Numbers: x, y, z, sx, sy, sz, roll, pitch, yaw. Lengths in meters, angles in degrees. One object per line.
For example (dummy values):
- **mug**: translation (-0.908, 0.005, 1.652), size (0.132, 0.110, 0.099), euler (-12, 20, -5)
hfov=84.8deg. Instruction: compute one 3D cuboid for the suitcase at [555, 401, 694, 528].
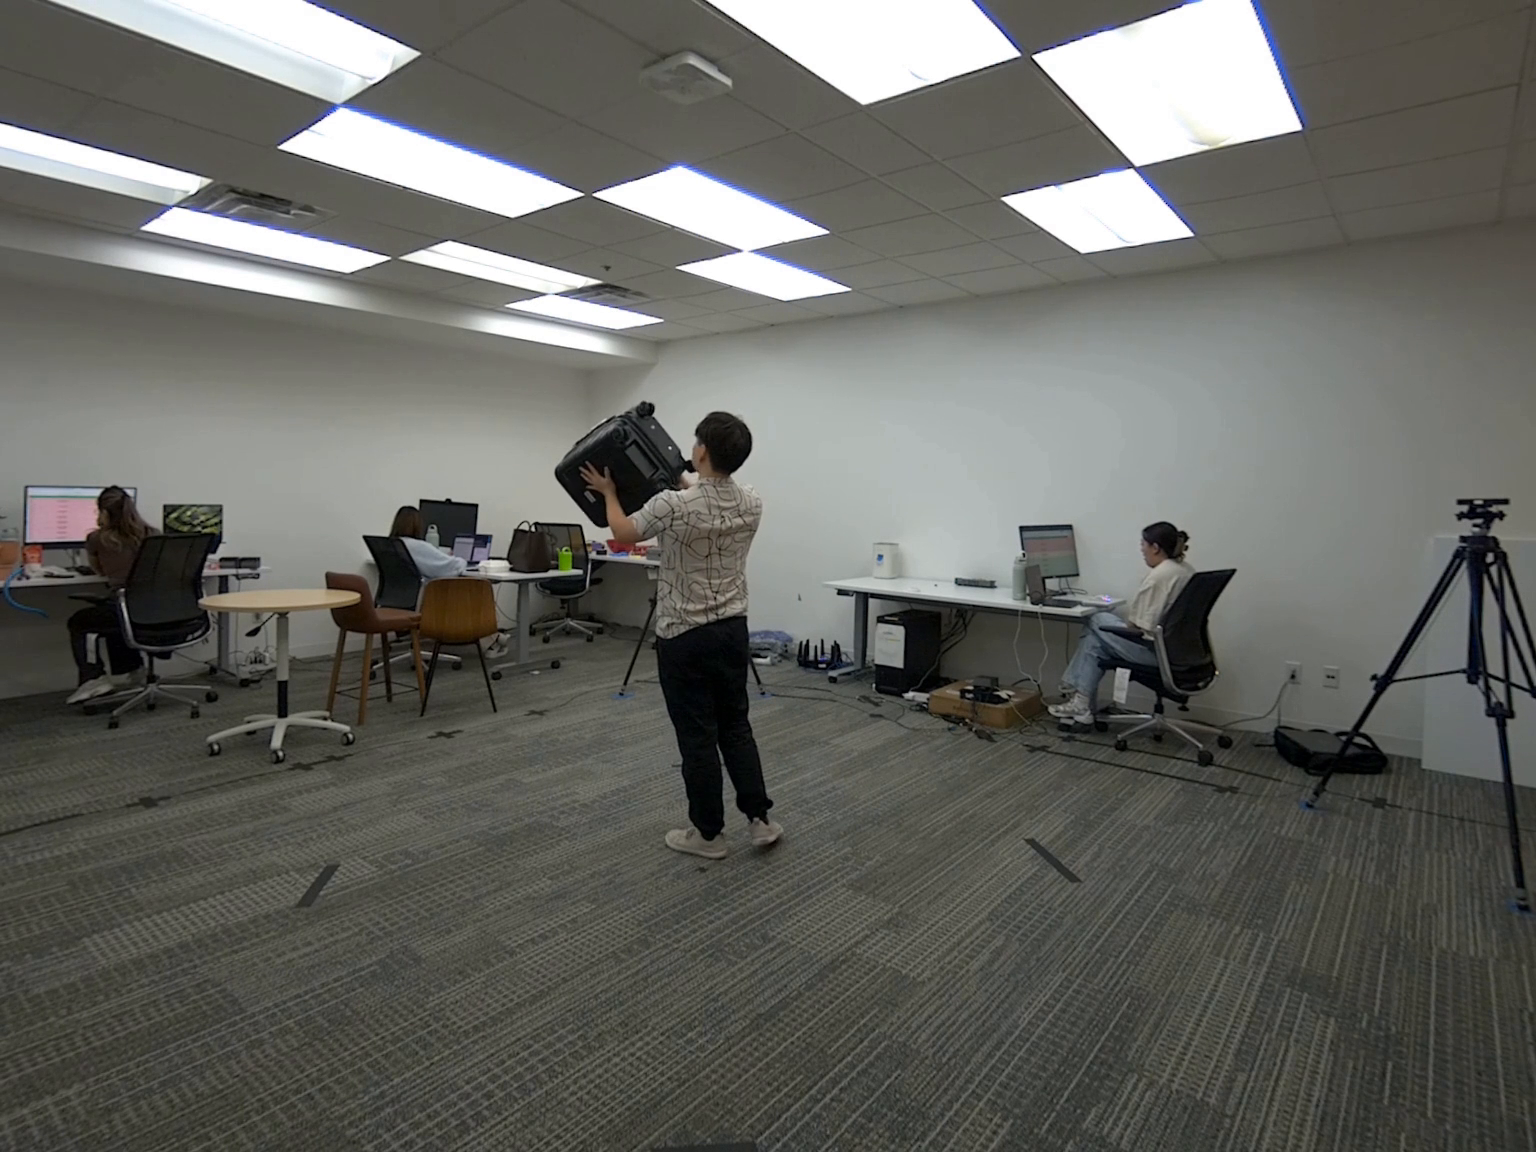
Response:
- **suitcase**: translation (-0.616, -0.446, 3.503), size (0.559, 0.368, 0.249), euler (-21, 23, 44)
